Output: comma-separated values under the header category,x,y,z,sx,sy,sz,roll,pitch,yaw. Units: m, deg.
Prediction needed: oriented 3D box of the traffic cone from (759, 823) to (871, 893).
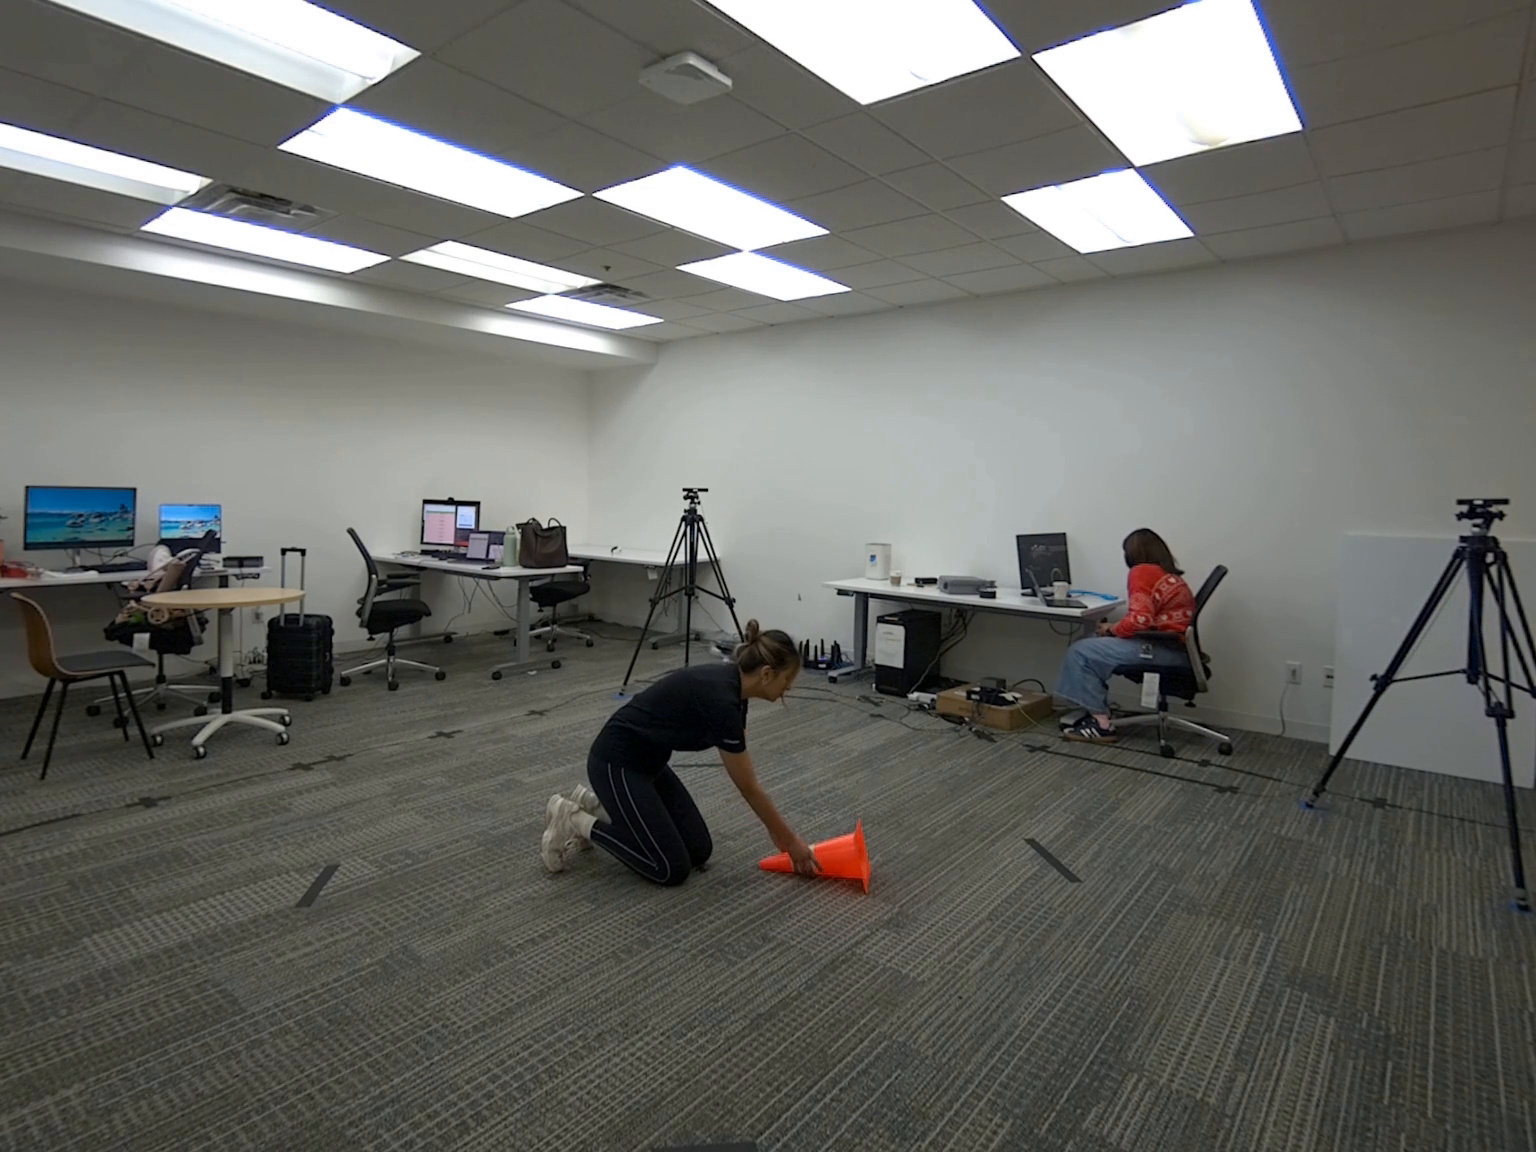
category,x,y,z,sx,sy,sz,roll,pitch,yaw
traffic cone,0.145,1.037,3.082,0.388,0.205,0.201,-12,2,14
